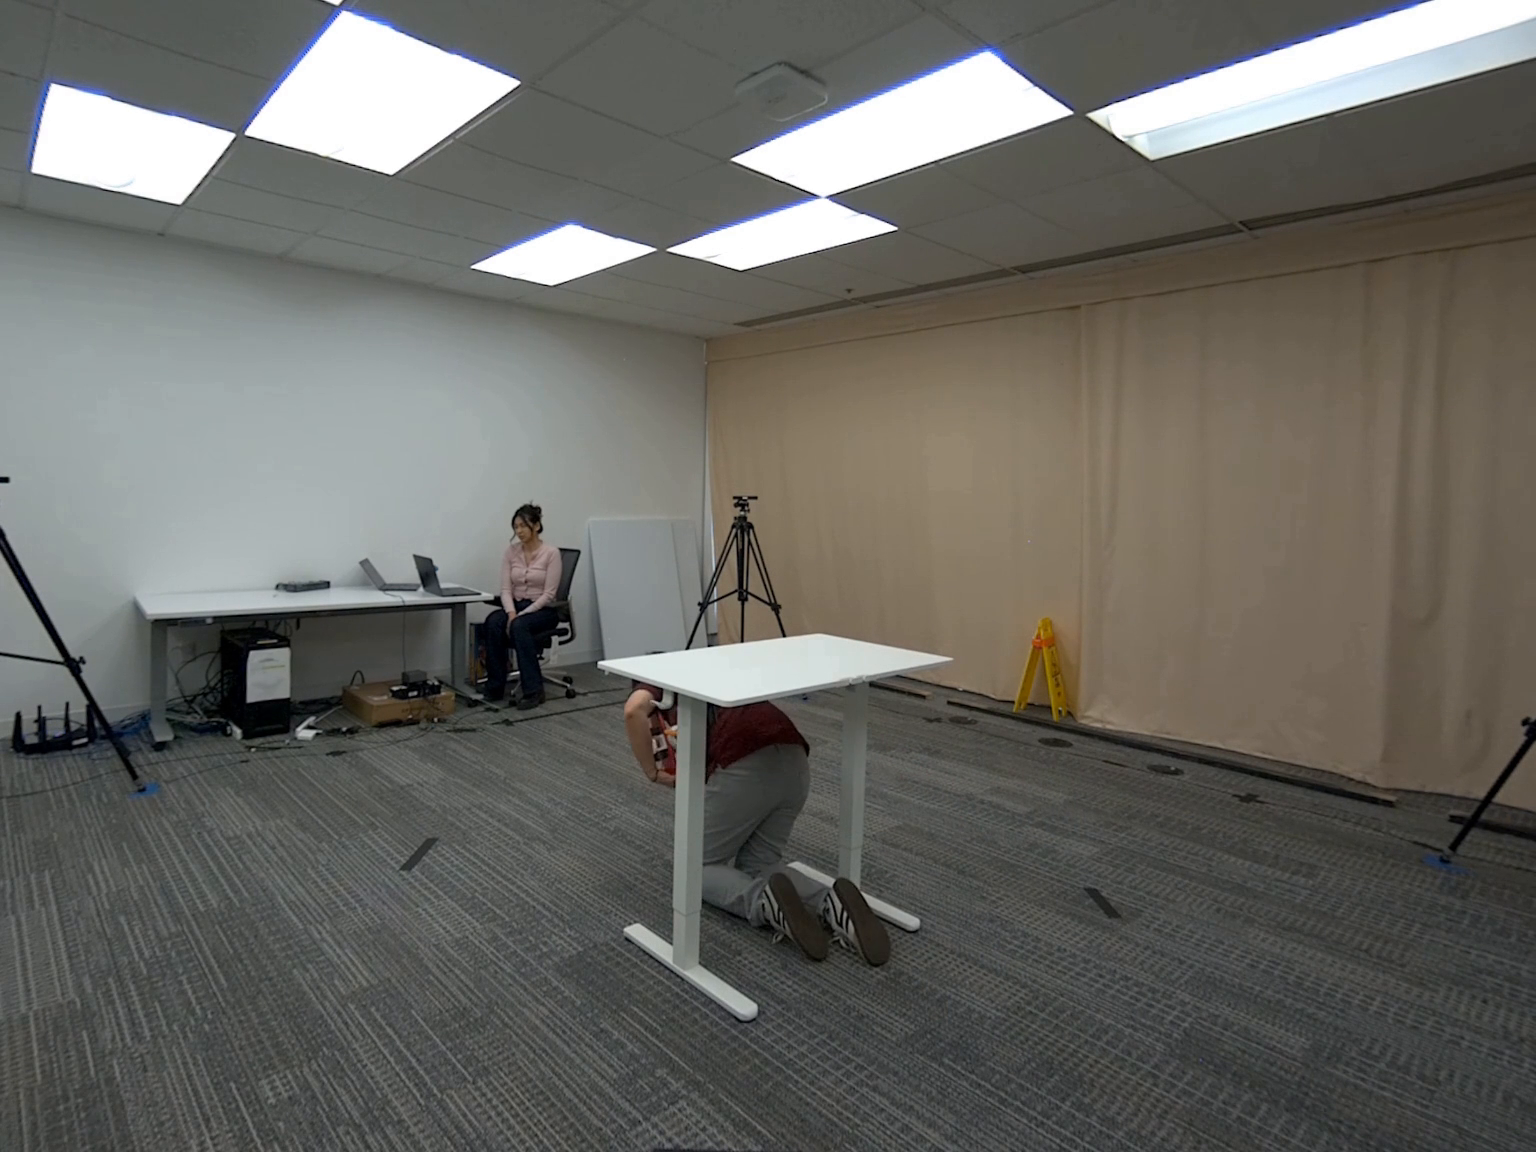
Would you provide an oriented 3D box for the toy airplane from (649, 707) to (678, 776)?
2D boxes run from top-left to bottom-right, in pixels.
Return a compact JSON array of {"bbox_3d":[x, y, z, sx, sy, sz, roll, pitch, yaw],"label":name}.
[{"bbox_3d":[-0.381,0.596,3.037,0.154,0.250,0.263,-11,5,-22],"label":"toy airplane"}]
